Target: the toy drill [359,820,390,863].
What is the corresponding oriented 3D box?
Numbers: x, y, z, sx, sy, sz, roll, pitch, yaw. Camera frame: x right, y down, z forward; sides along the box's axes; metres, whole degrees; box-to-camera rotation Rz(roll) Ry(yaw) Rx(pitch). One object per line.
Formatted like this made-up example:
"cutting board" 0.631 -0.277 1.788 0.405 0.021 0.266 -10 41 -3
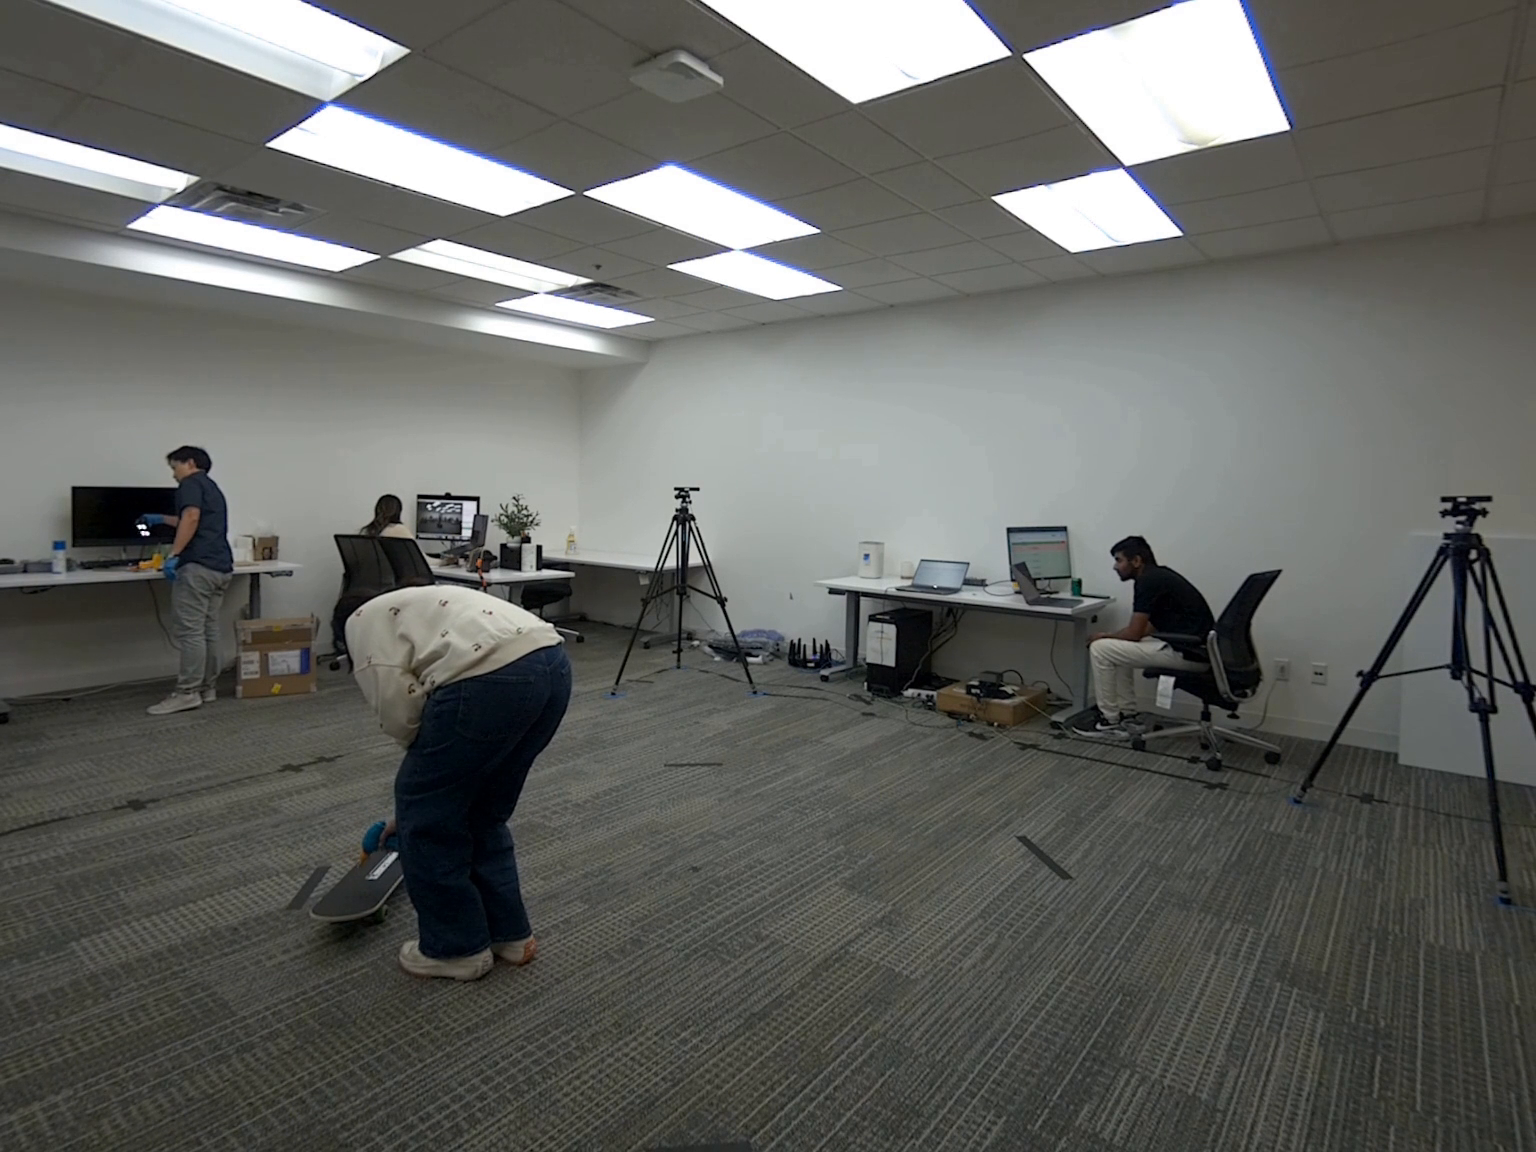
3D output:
"toy drill" -1.262 0.882 2.748 0.146 0.170 0.061 25 -1 -1
